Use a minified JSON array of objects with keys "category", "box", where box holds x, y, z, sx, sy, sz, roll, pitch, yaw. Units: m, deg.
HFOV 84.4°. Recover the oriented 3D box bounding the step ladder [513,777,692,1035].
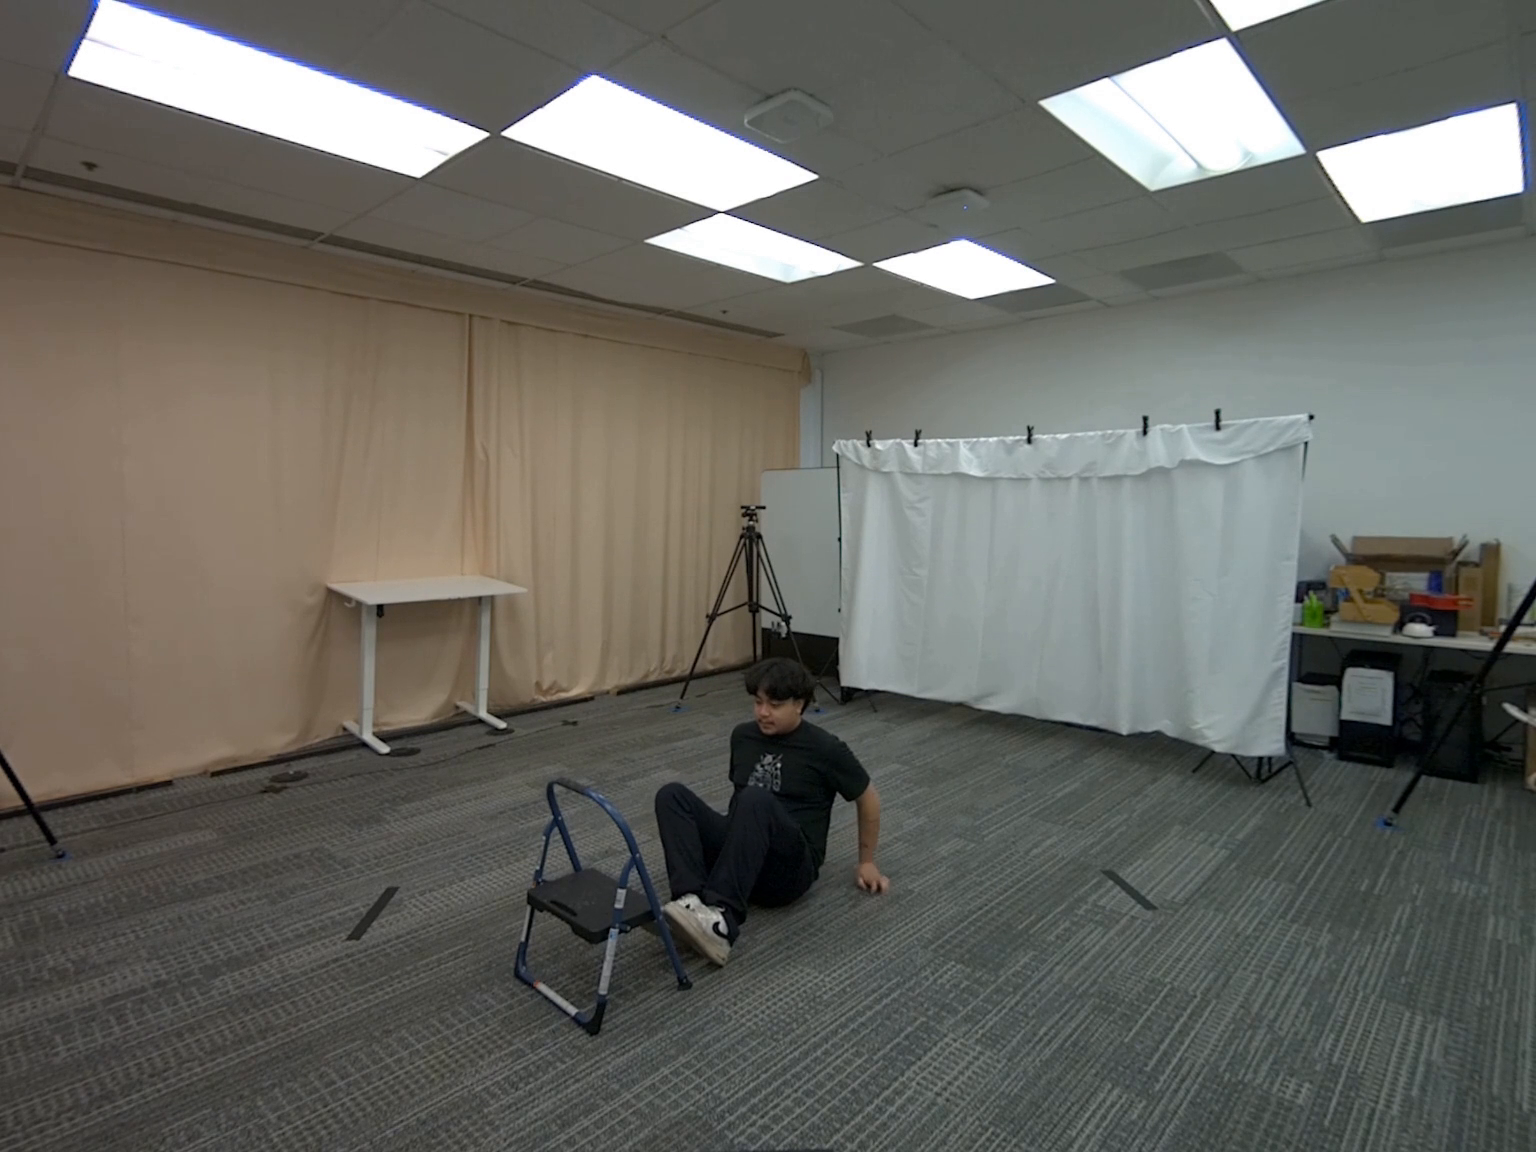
[{"category":"step ladder","box":[-0.492,0.889,2.456,0.445,0.605,0.338,2,4,44]}]
